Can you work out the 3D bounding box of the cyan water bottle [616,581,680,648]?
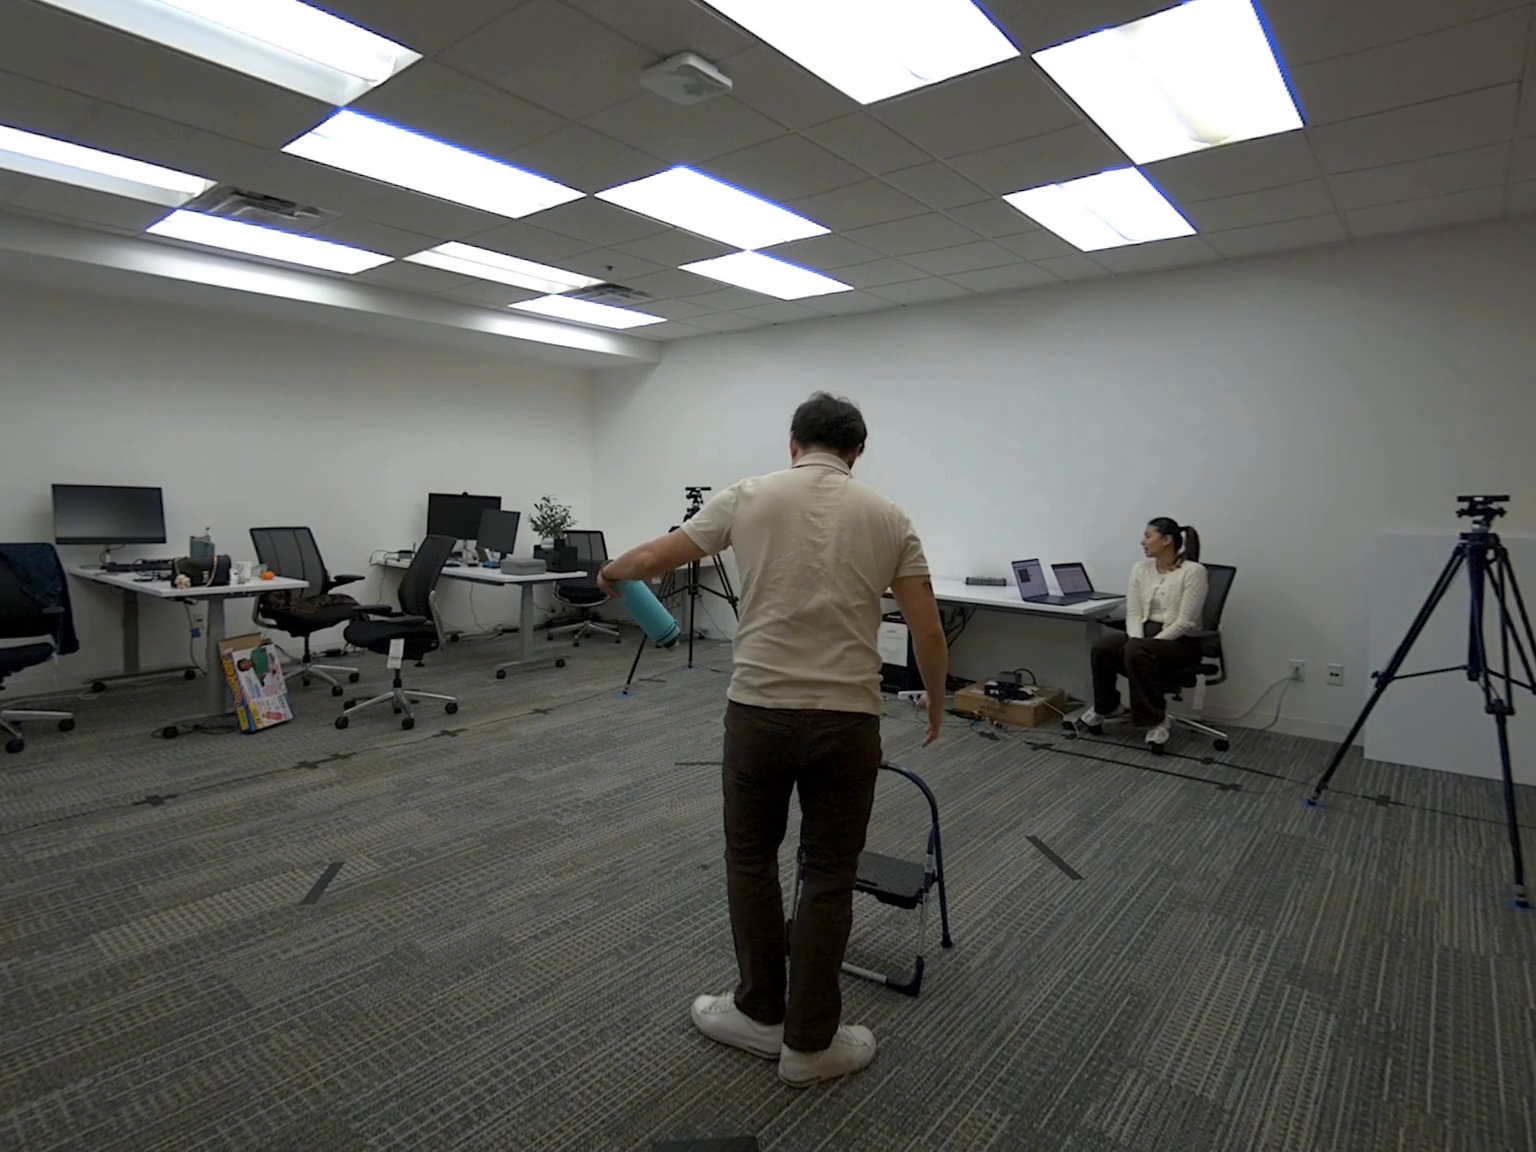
[{"bbox_3d":[-0.359,0.109,2.501,0.092,0.278,0.094,-36,12,8],"label":"cyan water bottle"}]
